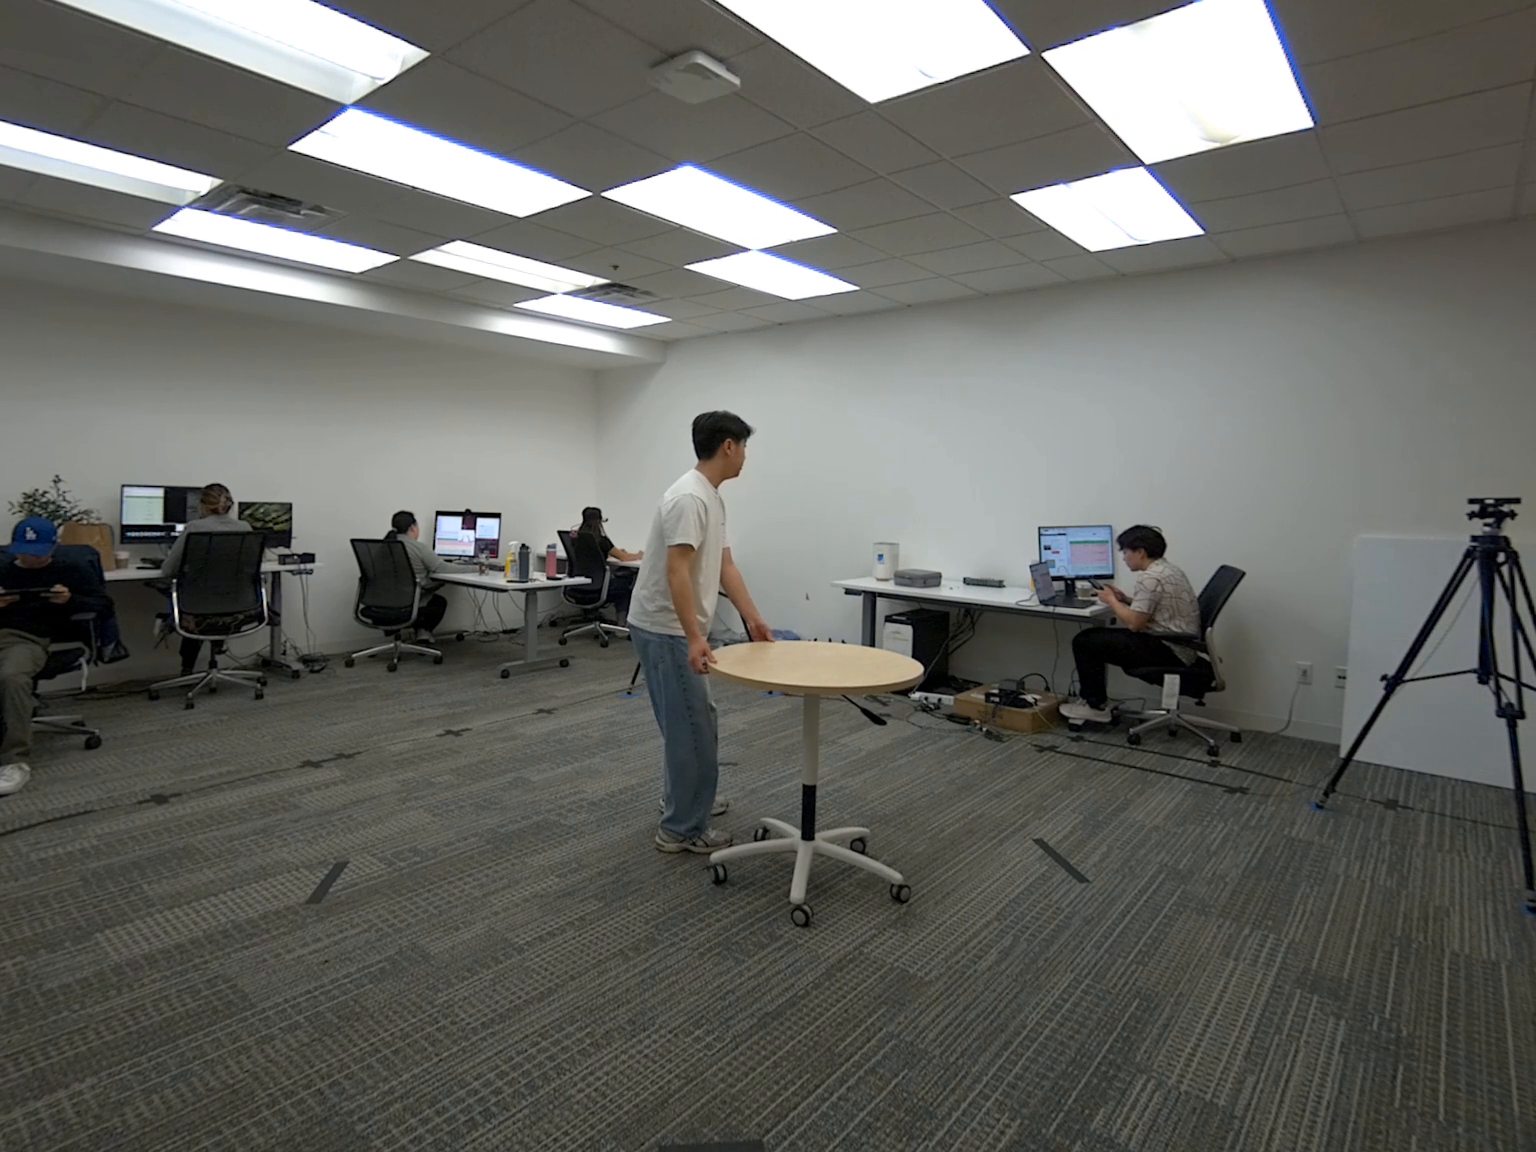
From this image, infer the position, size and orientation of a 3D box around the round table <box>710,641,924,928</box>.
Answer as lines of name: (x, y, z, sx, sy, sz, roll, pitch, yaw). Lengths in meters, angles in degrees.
round table: (0.139, 0.691, 3.035, 0.763, 0.791, 0.768, 2, 5, -2)
